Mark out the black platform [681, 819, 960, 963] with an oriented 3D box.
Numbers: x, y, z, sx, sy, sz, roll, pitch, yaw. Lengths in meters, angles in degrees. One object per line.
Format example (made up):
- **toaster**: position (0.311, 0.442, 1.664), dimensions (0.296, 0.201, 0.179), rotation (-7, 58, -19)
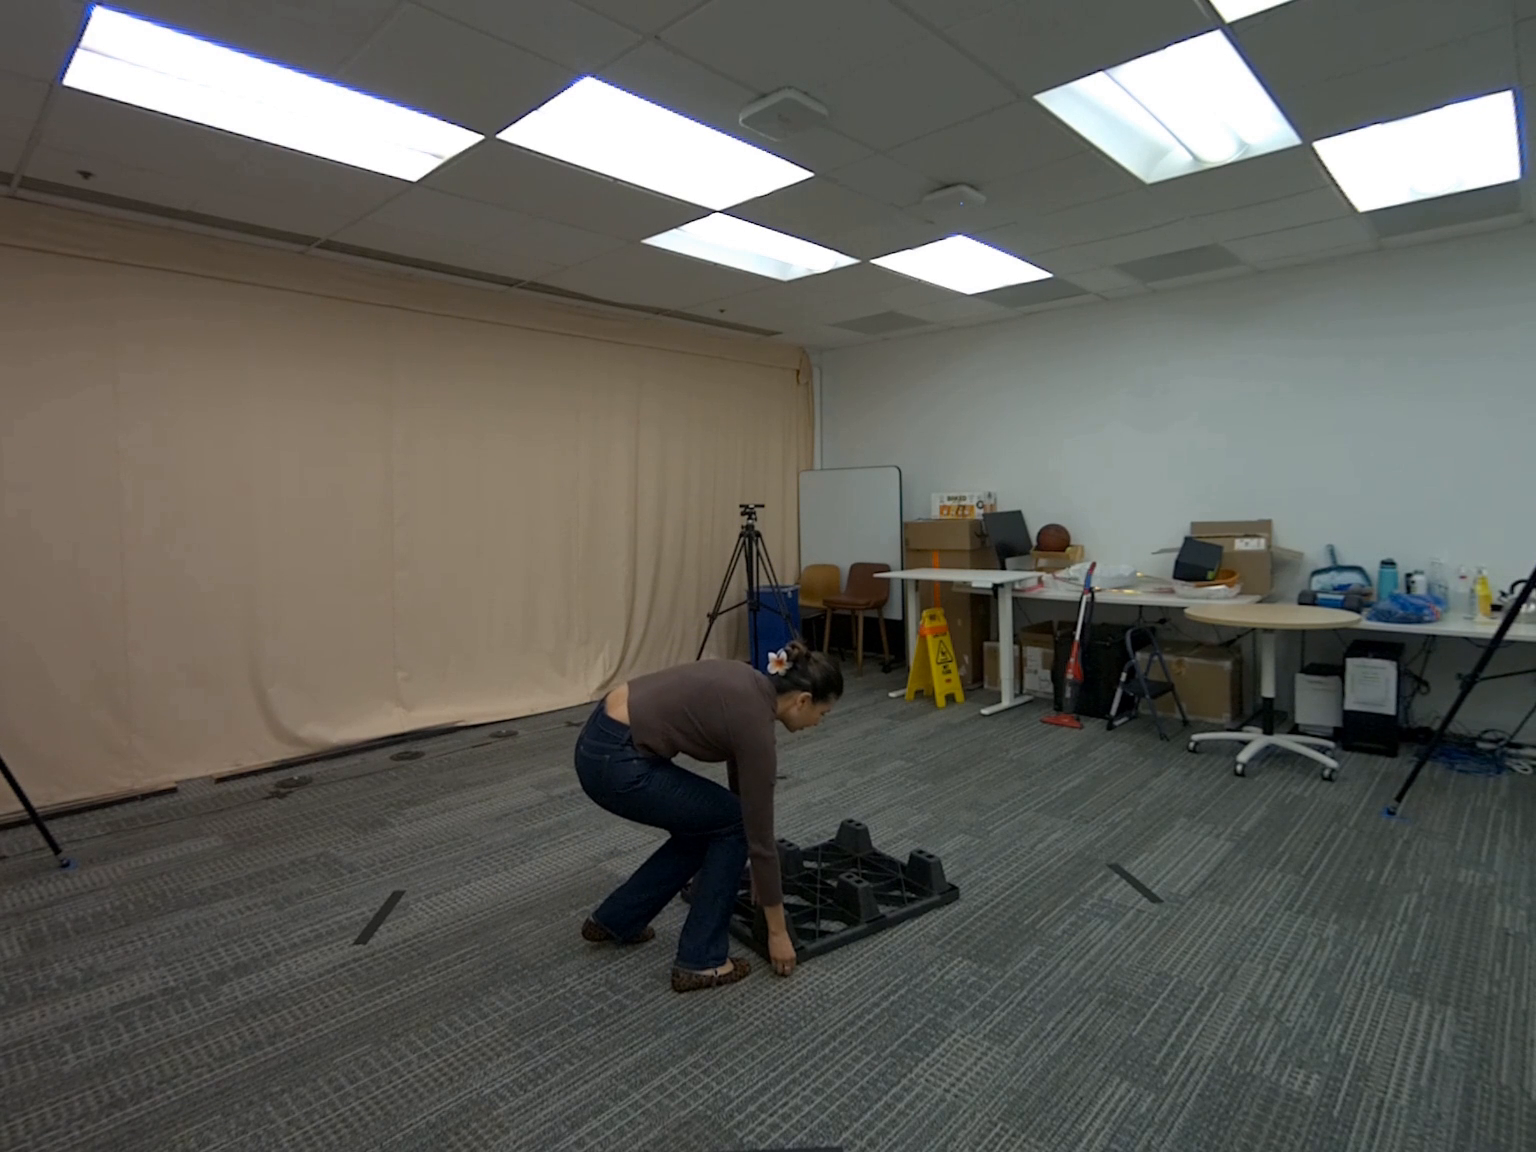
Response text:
- **black platform**: position (0.184, 1.069, 2.975), dimensions (0.782, 0.143, 0.624), rotation (-5, 7, -36)
